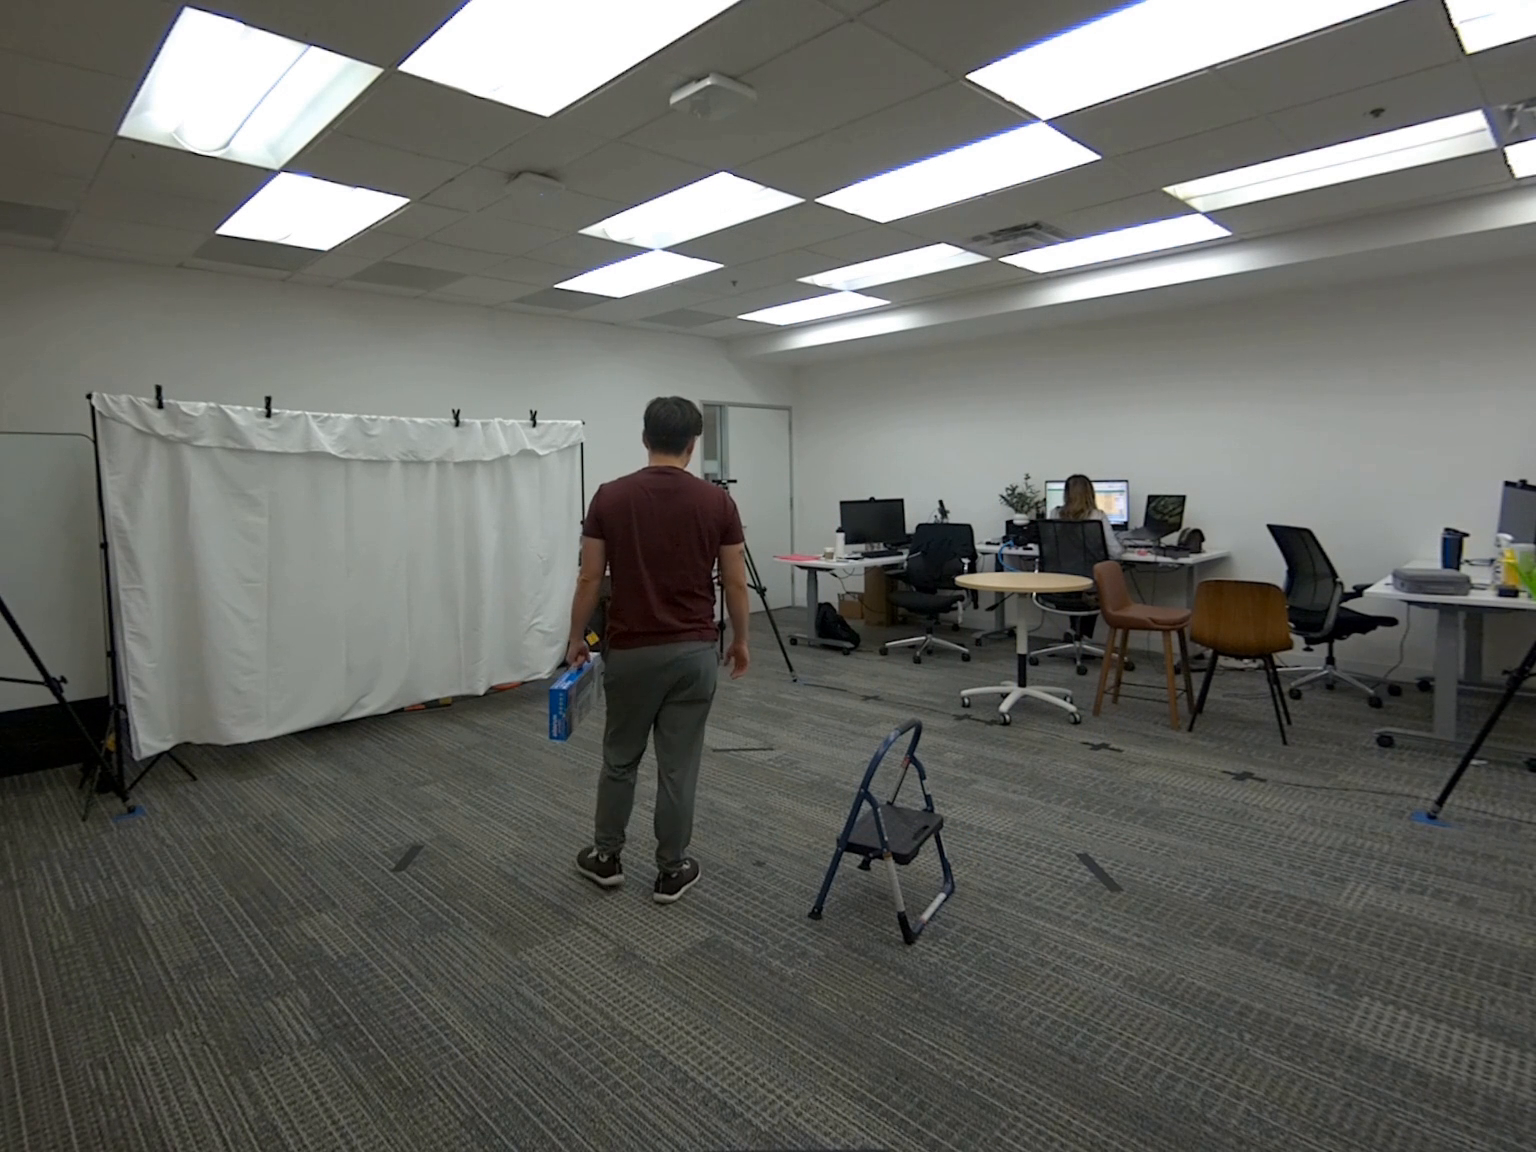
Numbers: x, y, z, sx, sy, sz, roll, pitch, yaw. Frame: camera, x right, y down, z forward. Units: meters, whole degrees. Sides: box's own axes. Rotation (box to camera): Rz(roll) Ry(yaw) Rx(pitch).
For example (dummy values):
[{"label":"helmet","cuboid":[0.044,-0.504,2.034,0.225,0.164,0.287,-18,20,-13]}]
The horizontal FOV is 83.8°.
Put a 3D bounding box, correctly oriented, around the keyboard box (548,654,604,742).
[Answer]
[{"label":"keyboard box","cuboid":[-0.650,0.406,2.932,0.059,0.174,0.438,2,10,2]}]
